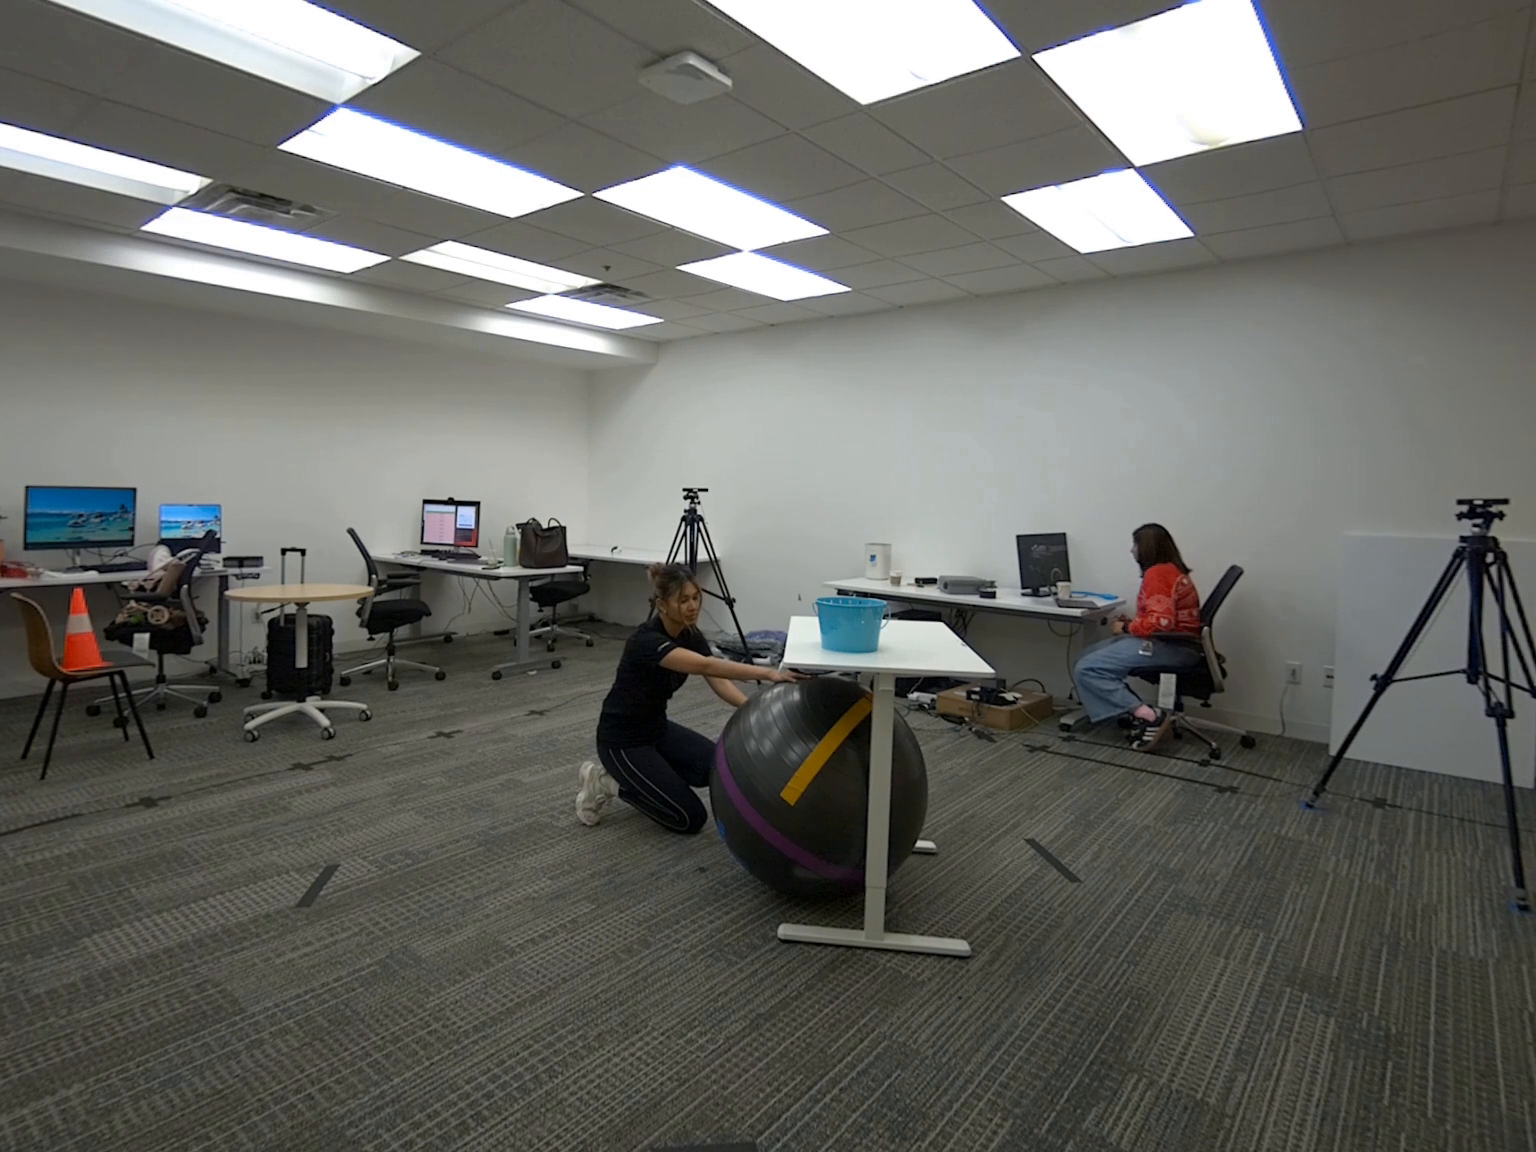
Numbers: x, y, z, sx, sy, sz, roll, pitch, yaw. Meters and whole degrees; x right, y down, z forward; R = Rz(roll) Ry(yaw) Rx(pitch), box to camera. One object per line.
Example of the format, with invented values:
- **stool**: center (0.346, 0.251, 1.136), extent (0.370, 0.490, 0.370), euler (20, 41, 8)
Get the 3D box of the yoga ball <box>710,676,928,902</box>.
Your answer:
- **yoga ball**: center (0.173, 0.735, 2.974), extent (0.757, 0.756, 0.762), euler (1, 4, -2)
